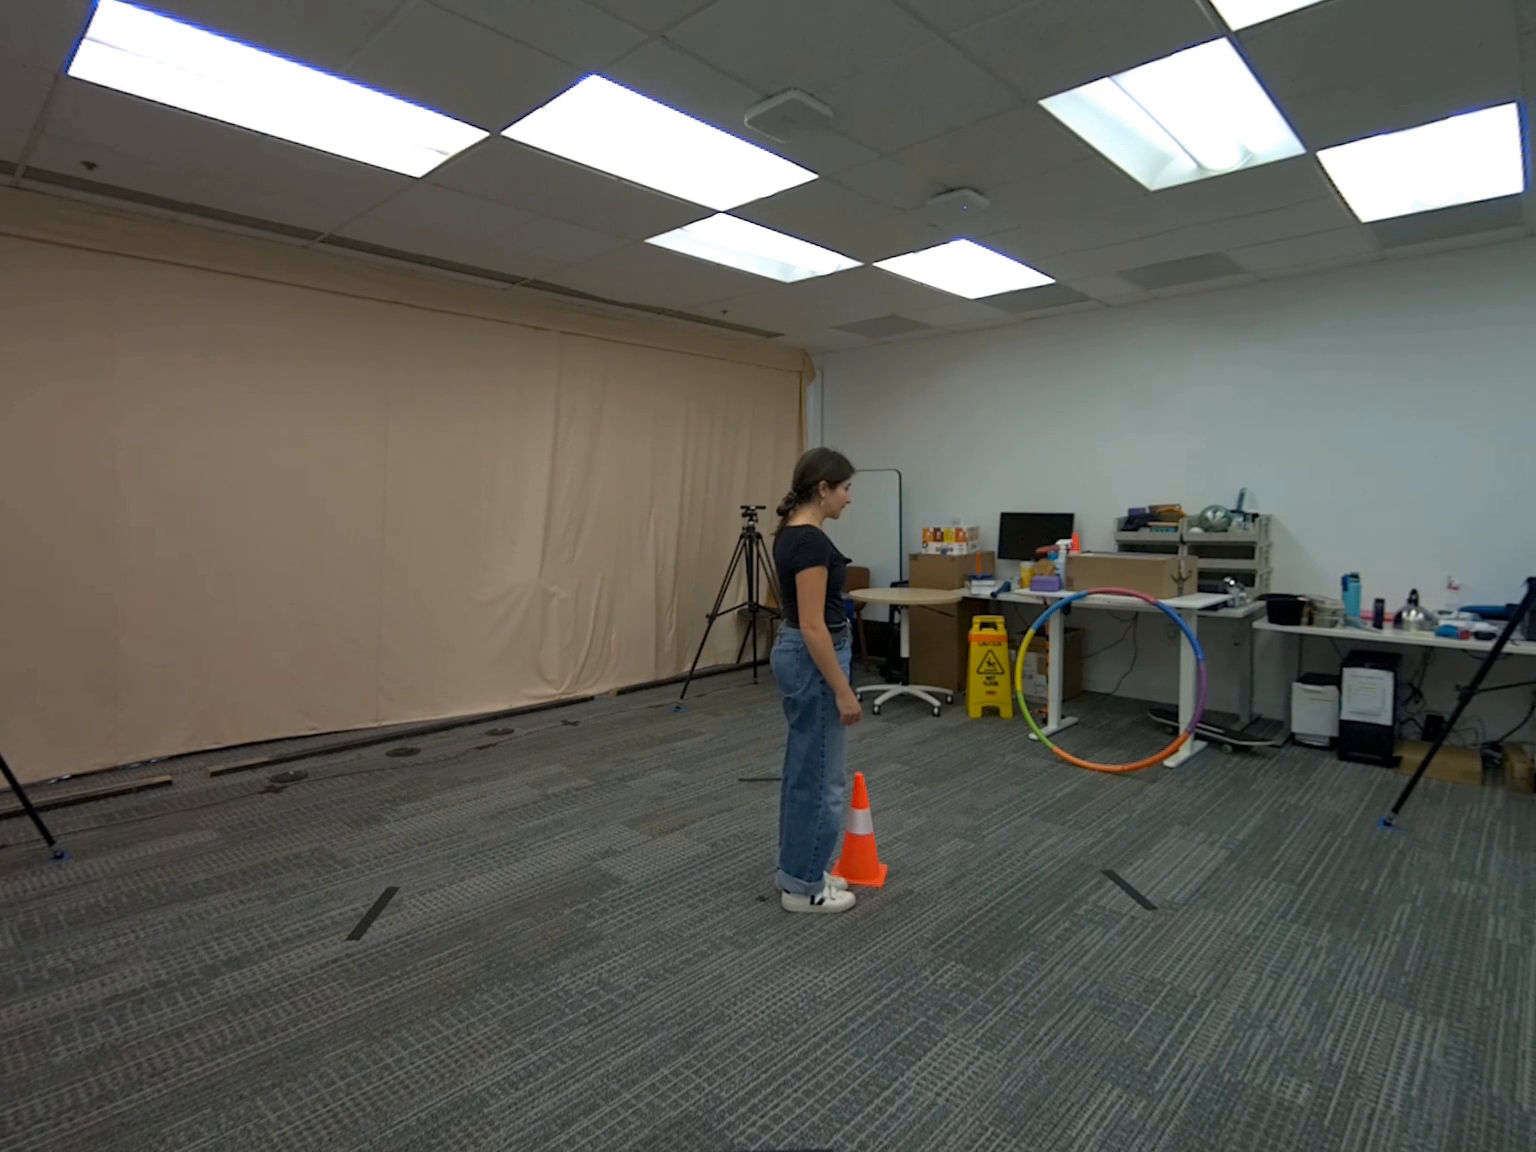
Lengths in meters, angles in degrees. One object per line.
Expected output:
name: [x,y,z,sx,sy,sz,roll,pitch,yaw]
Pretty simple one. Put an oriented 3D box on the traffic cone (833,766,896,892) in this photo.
traffic cone: [0.359,0.939,3.176,0.207,0.383,0.202,-1,3,15]
